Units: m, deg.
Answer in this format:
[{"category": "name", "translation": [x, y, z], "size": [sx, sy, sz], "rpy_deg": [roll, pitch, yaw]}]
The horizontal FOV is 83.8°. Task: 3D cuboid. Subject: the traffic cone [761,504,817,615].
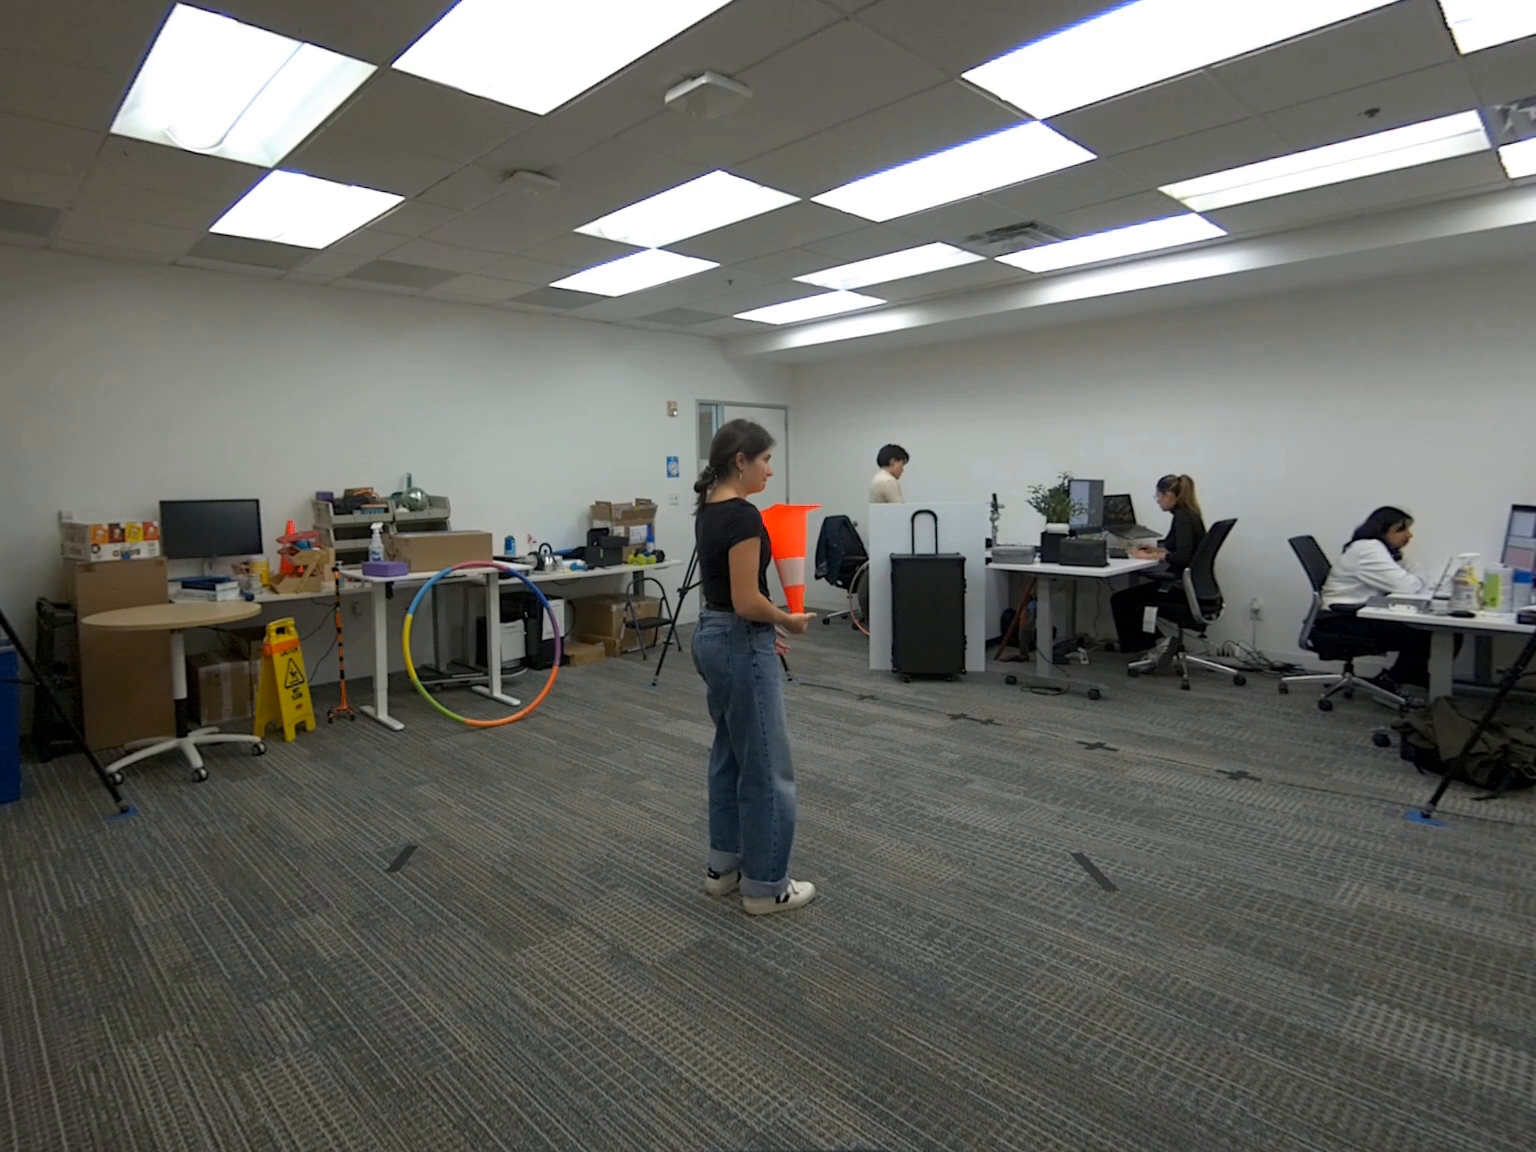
[{"category": "traffic cone", "translation": [0.069, -0.029, 2.843], "size": [0.200, 0.388, 0.206], "rpy_deg": [-2, -11, -34]}]
